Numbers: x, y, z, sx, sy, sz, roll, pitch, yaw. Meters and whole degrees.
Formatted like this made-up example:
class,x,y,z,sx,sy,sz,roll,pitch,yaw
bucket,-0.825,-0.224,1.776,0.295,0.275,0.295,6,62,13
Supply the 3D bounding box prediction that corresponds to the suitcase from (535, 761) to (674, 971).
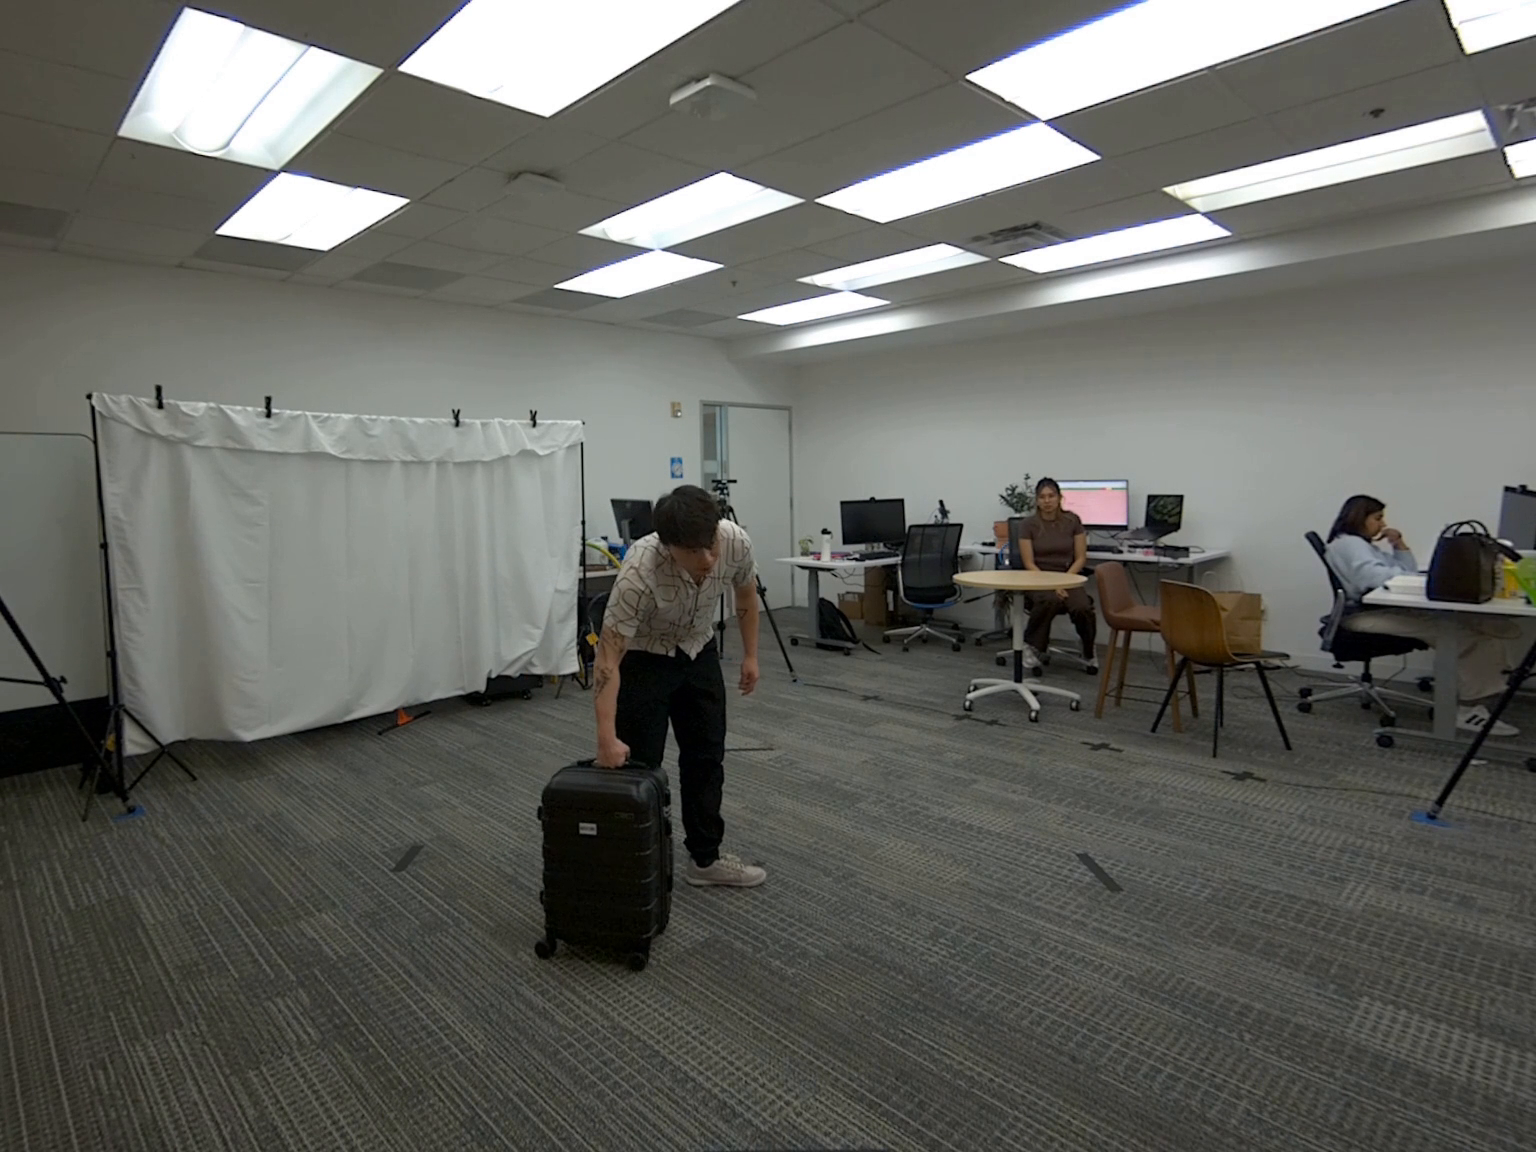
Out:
class,x,y,z,sx,sy,sz,roll,pitch,yaw
suitcase,-0.482,0.842,2.576,0.380,0.547,0.246,1,5,13
